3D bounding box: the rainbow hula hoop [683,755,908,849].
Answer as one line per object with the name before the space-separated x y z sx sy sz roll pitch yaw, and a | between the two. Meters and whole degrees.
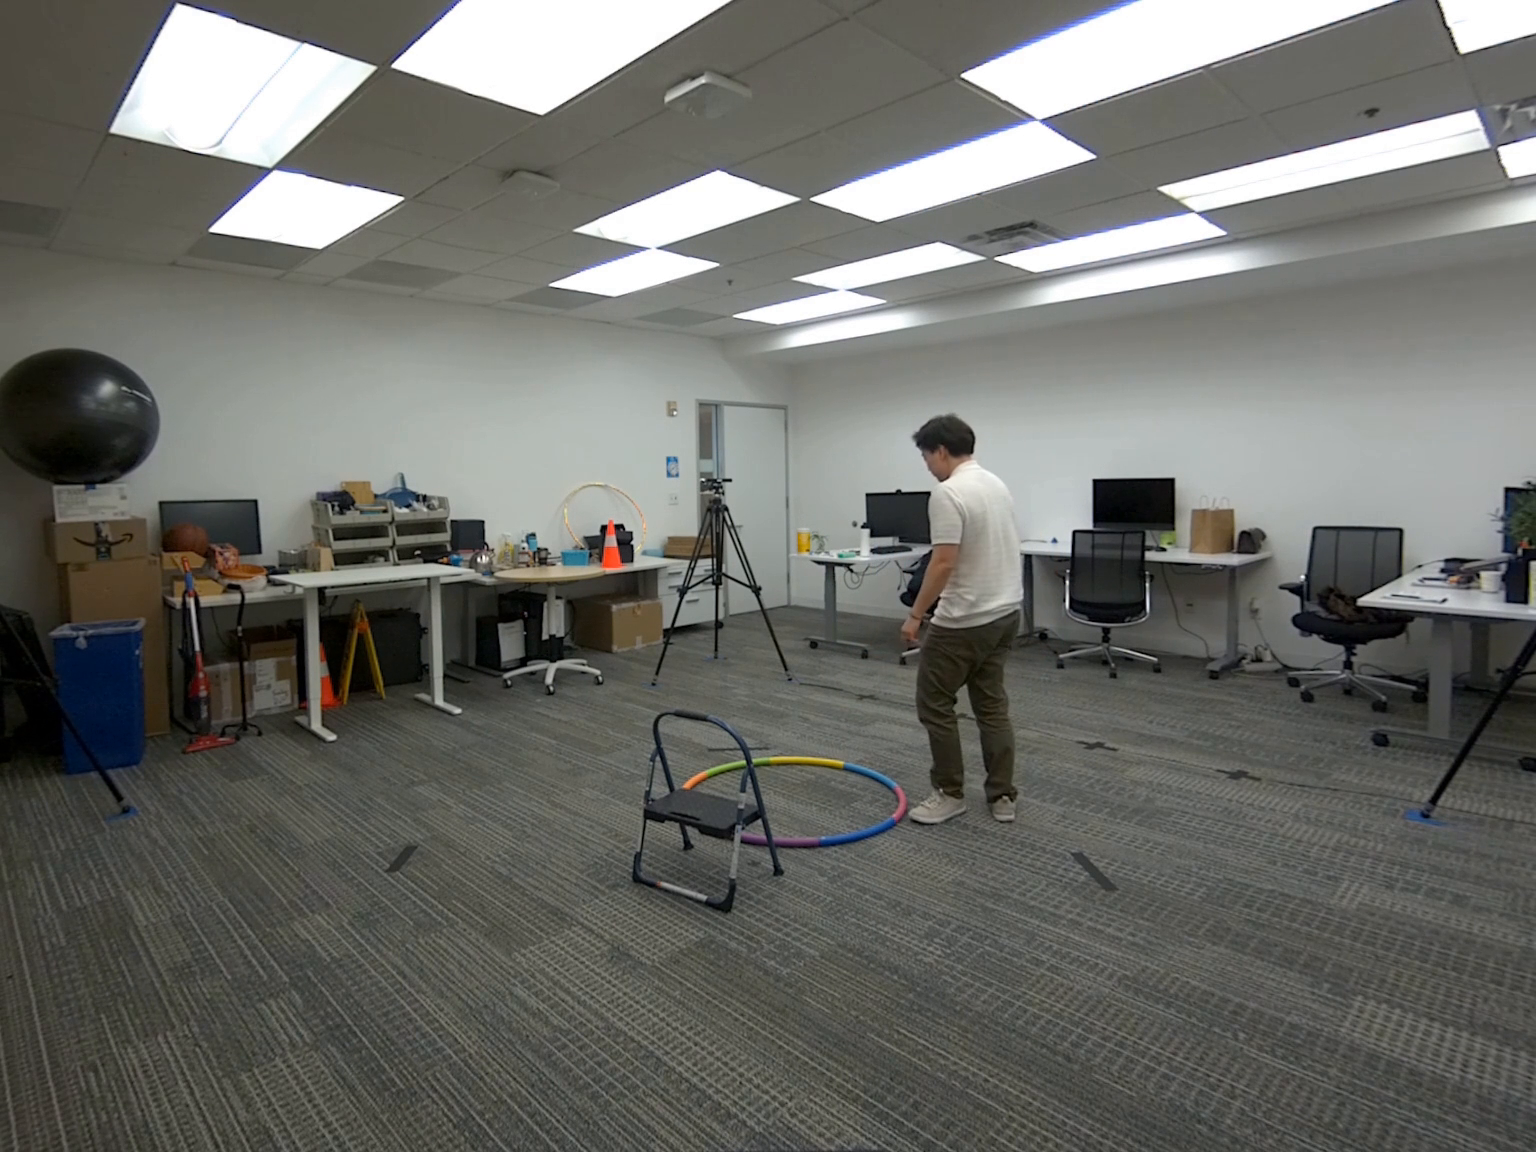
rainbow hula hoop | 0.098 0.943 3.712 0.978 0.035 0.984 -1 6 -2
